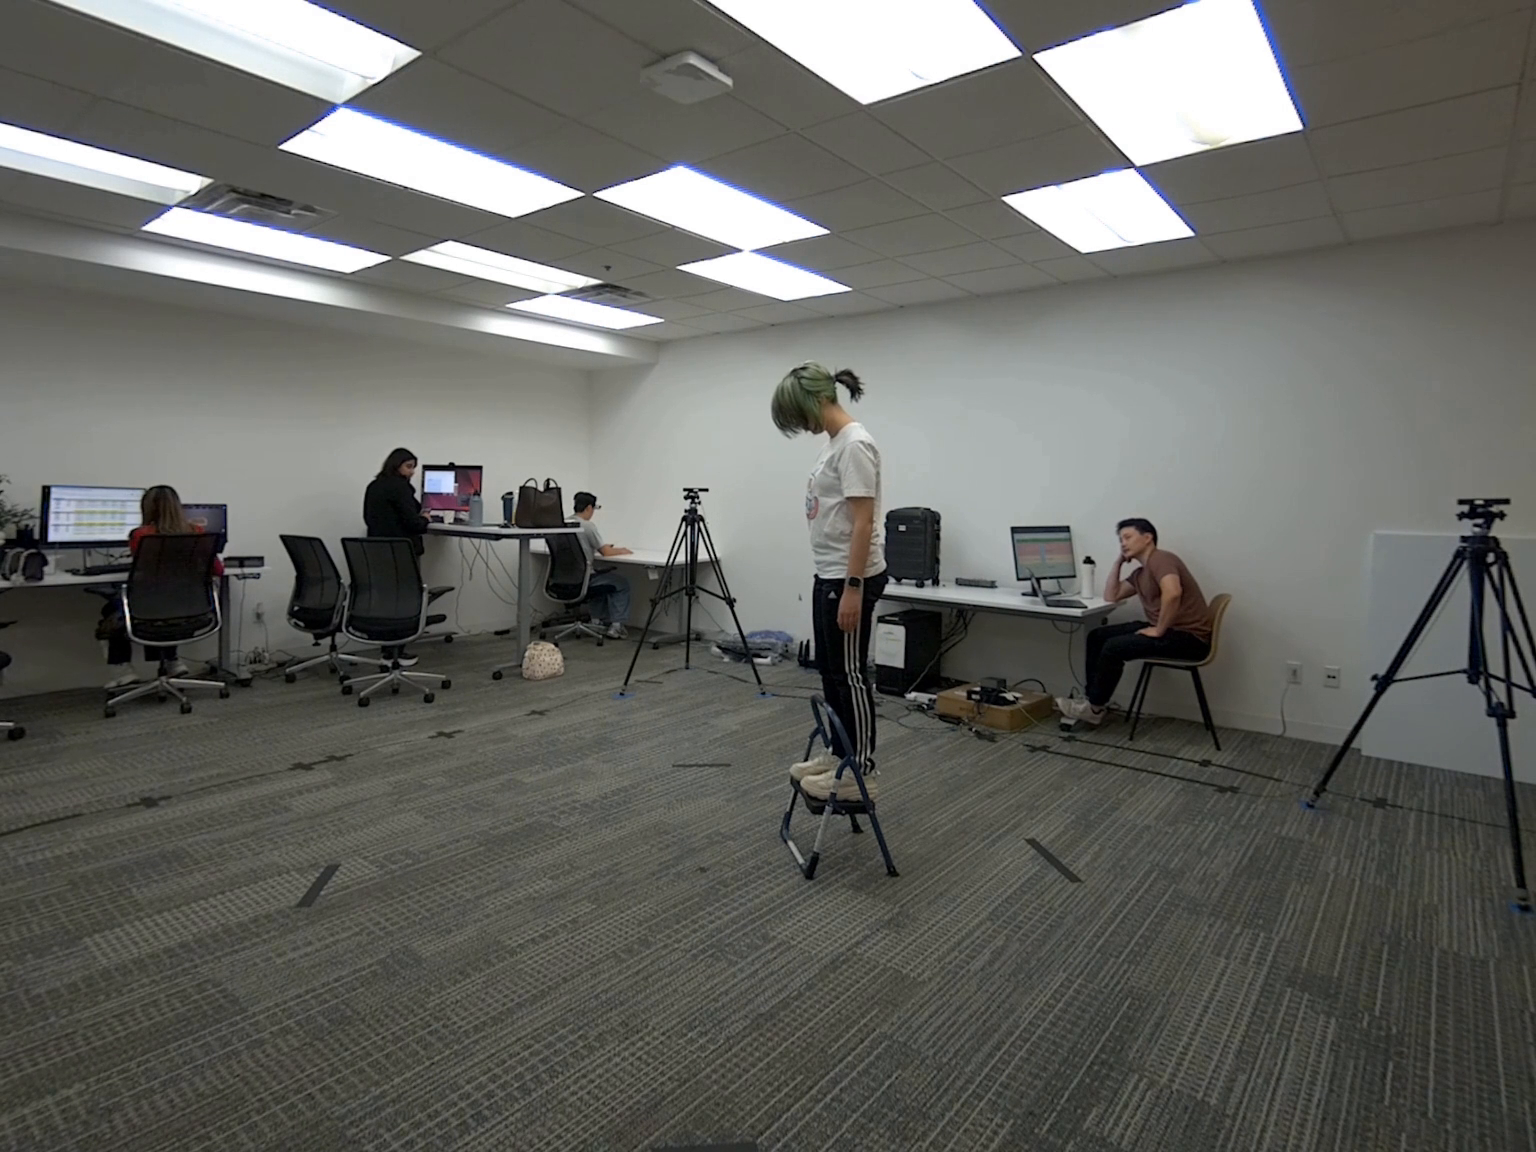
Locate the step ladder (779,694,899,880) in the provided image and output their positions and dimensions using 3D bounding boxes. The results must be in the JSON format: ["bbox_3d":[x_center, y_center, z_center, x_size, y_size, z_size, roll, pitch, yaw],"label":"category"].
[{"bbox_3d":[0.259,0.767,3.255,0.345,0.604,0.437,2,4,-12],"label":"step ladder"}]
